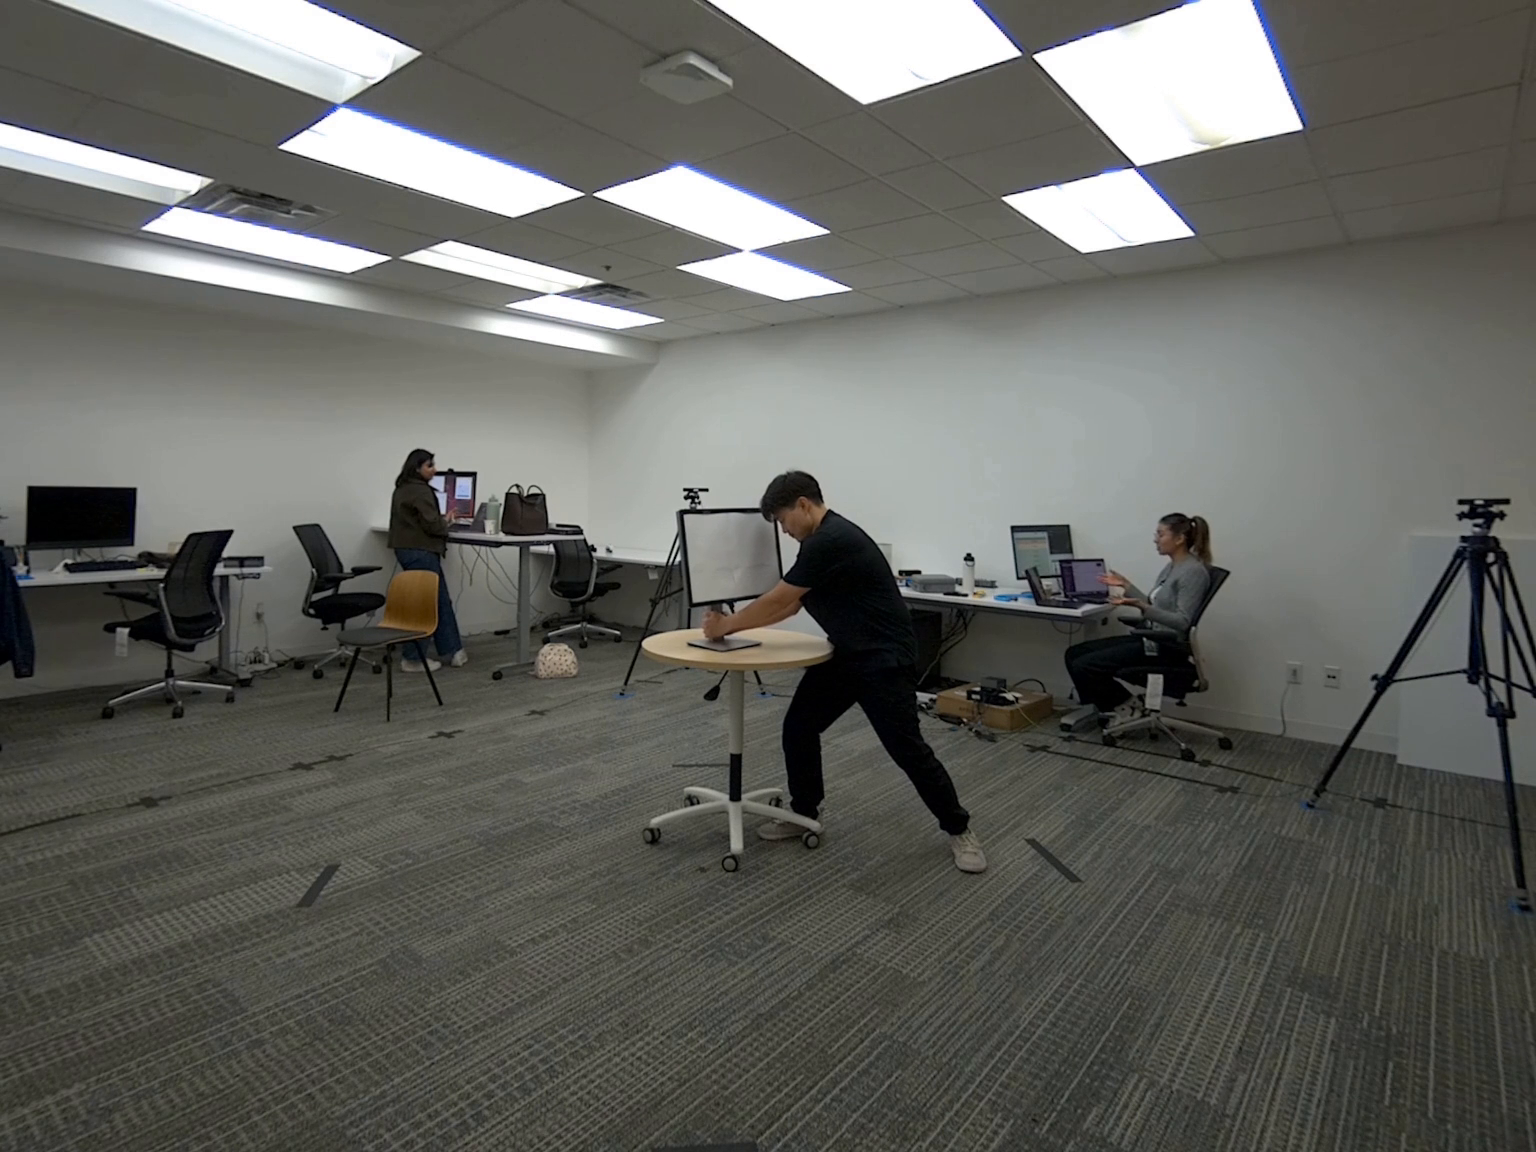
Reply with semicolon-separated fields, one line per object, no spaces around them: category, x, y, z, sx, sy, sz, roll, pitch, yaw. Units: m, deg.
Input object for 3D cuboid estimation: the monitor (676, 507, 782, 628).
monitor;-0.175;0.005;3.352;0.193;0.521;0.523;5;6;39
